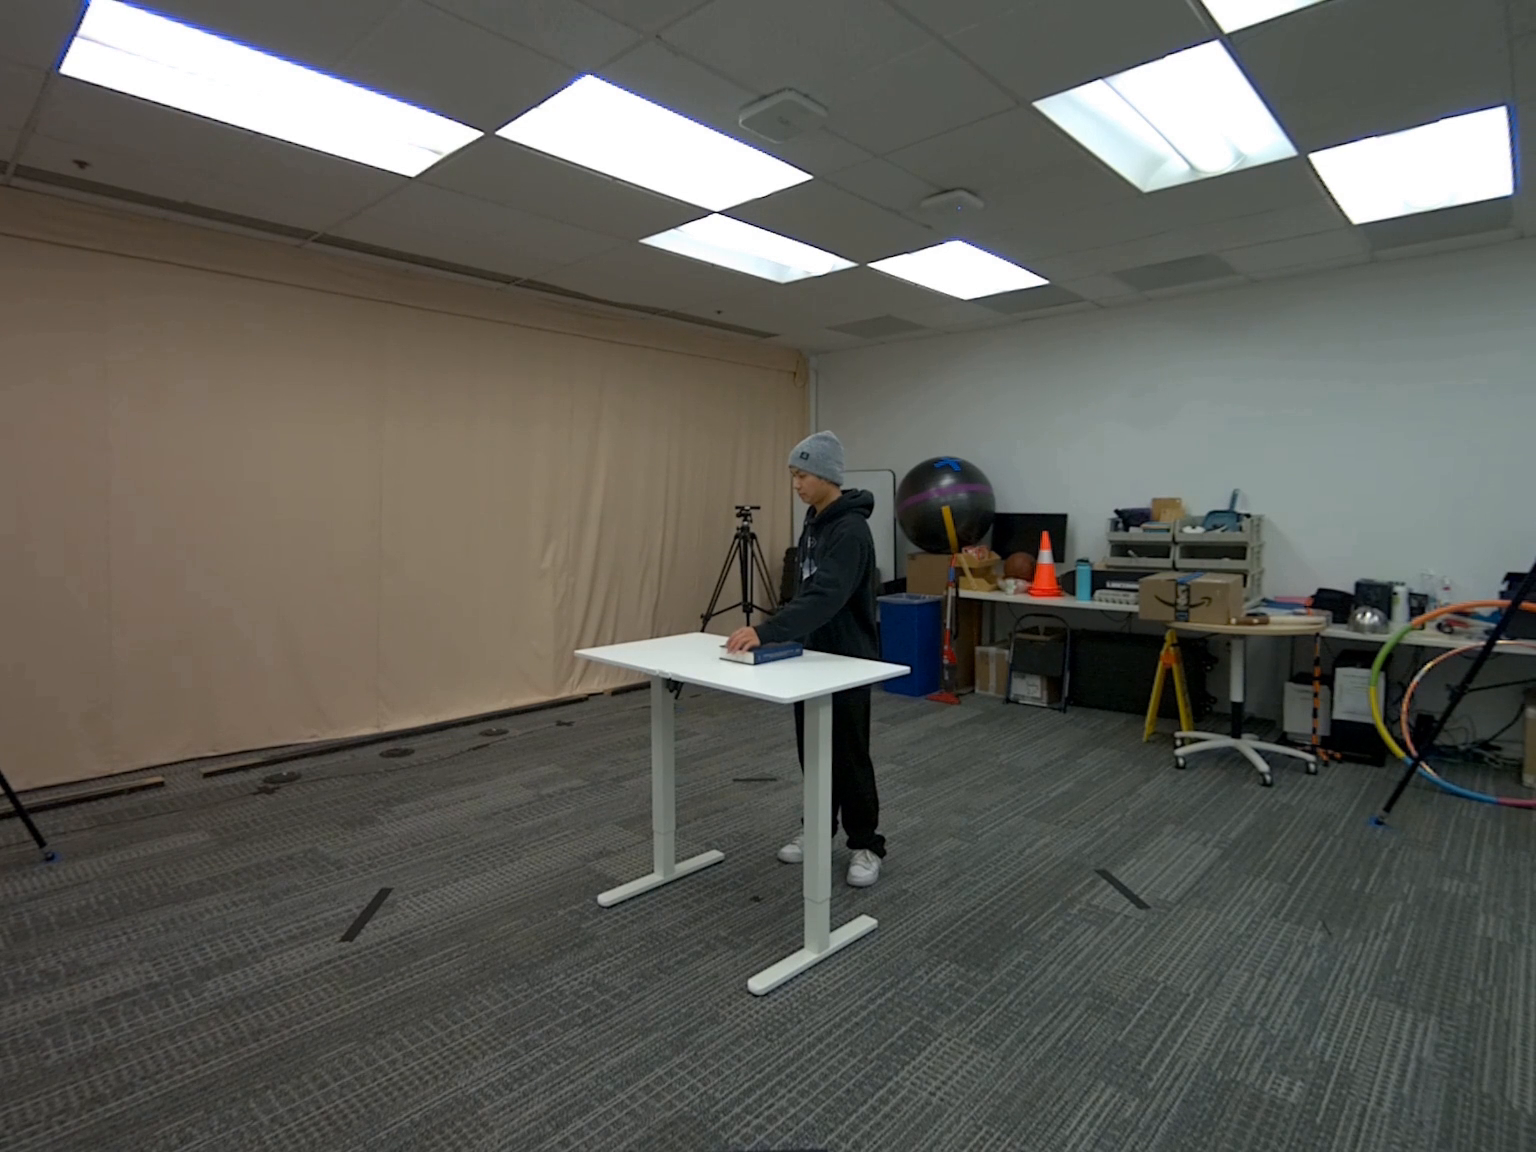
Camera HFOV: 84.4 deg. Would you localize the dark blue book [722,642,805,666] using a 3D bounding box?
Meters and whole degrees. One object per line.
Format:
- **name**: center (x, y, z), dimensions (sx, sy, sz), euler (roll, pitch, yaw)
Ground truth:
- **dark blue book**: center (-0.020, 0.252, 2.850), dimensions (0.169, 0.045, 0.238), euler (6, 8, 44)
